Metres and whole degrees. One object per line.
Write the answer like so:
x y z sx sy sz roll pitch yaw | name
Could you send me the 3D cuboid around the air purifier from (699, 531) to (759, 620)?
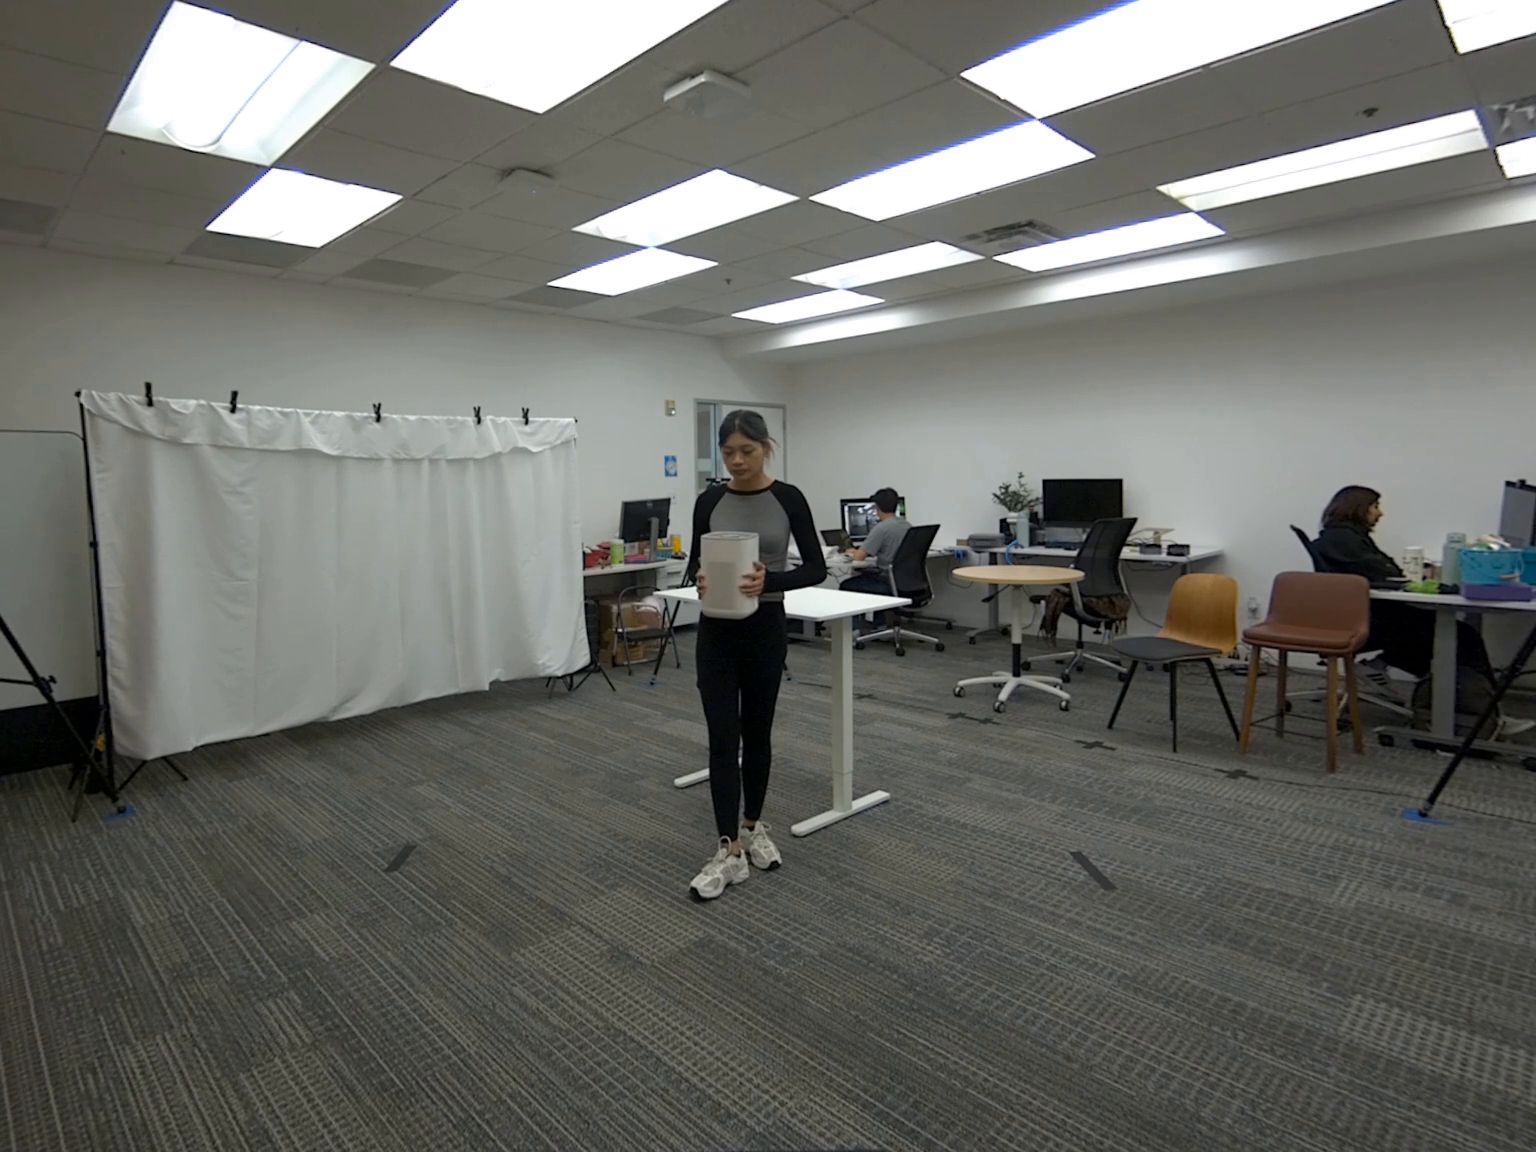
-0.140 -0.003 2.799 0.174 0.264 0.169 2 7 15 | air purifier
